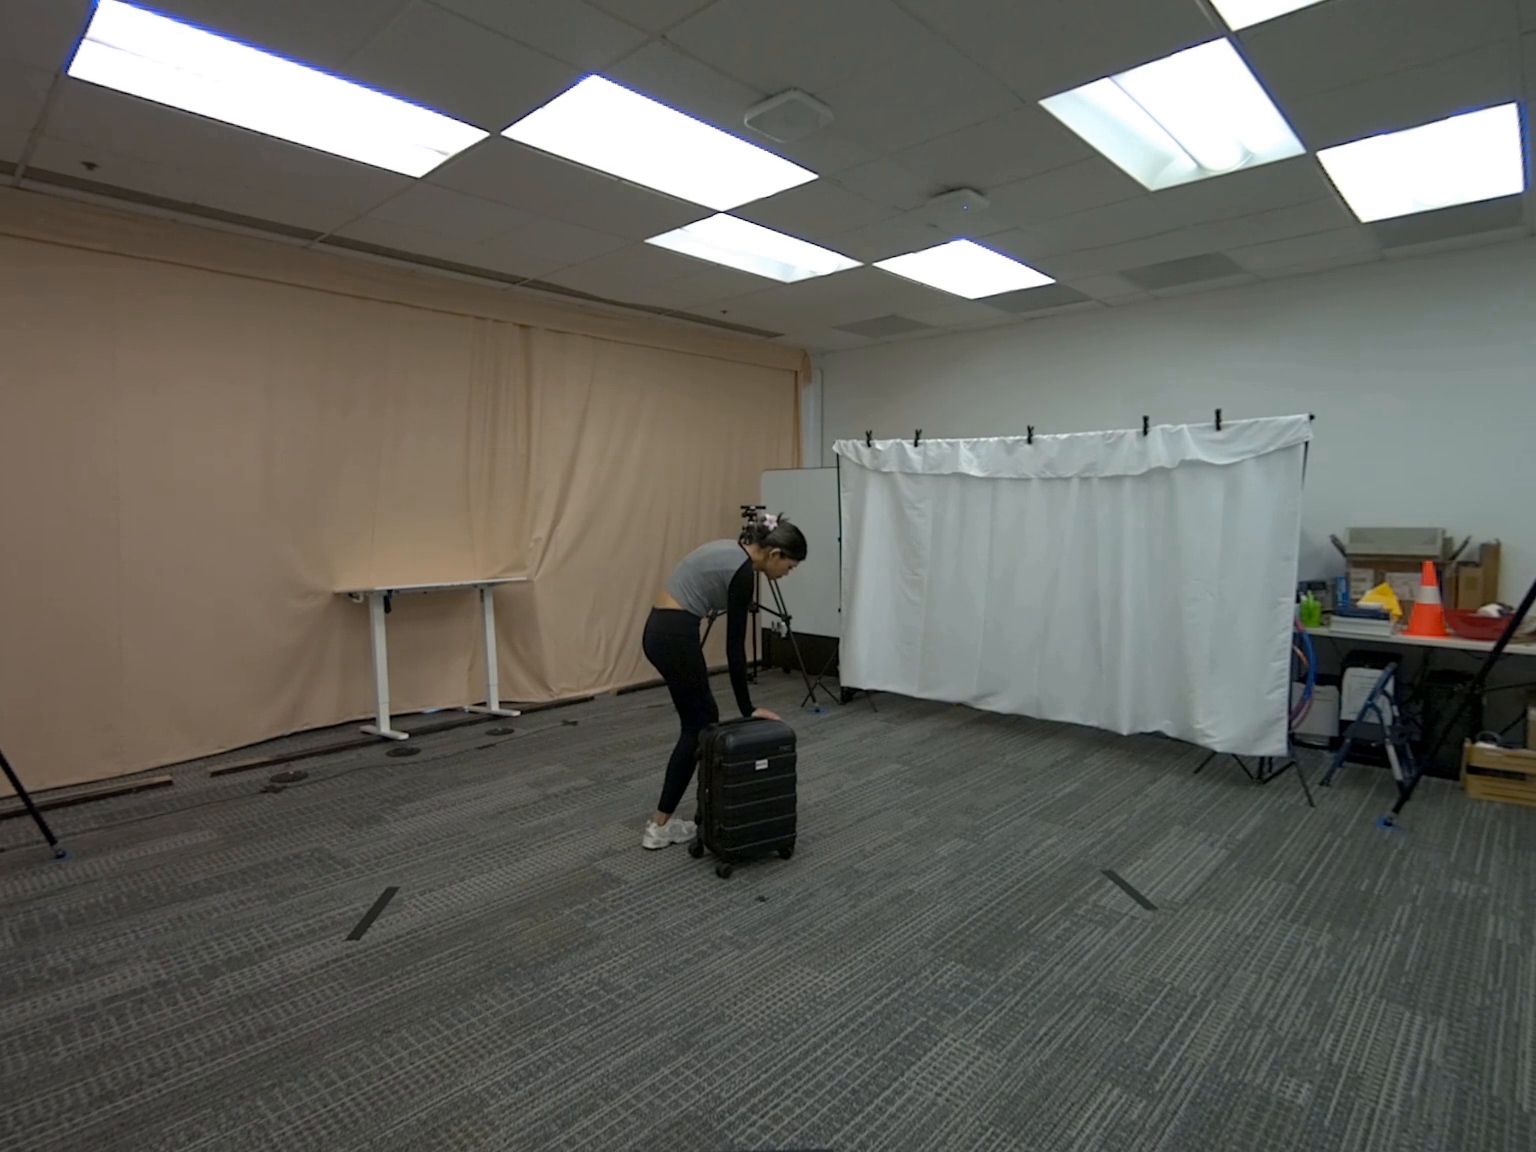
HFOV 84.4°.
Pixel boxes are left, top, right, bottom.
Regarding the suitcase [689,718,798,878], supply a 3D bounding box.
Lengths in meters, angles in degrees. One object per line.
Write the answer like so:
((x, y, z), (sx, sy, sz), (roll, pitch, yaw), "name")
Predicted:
((-0.077, 0.838, 3.318), (0.365, 0.548, 0.256), (0, 4, -30), "suitcase")
